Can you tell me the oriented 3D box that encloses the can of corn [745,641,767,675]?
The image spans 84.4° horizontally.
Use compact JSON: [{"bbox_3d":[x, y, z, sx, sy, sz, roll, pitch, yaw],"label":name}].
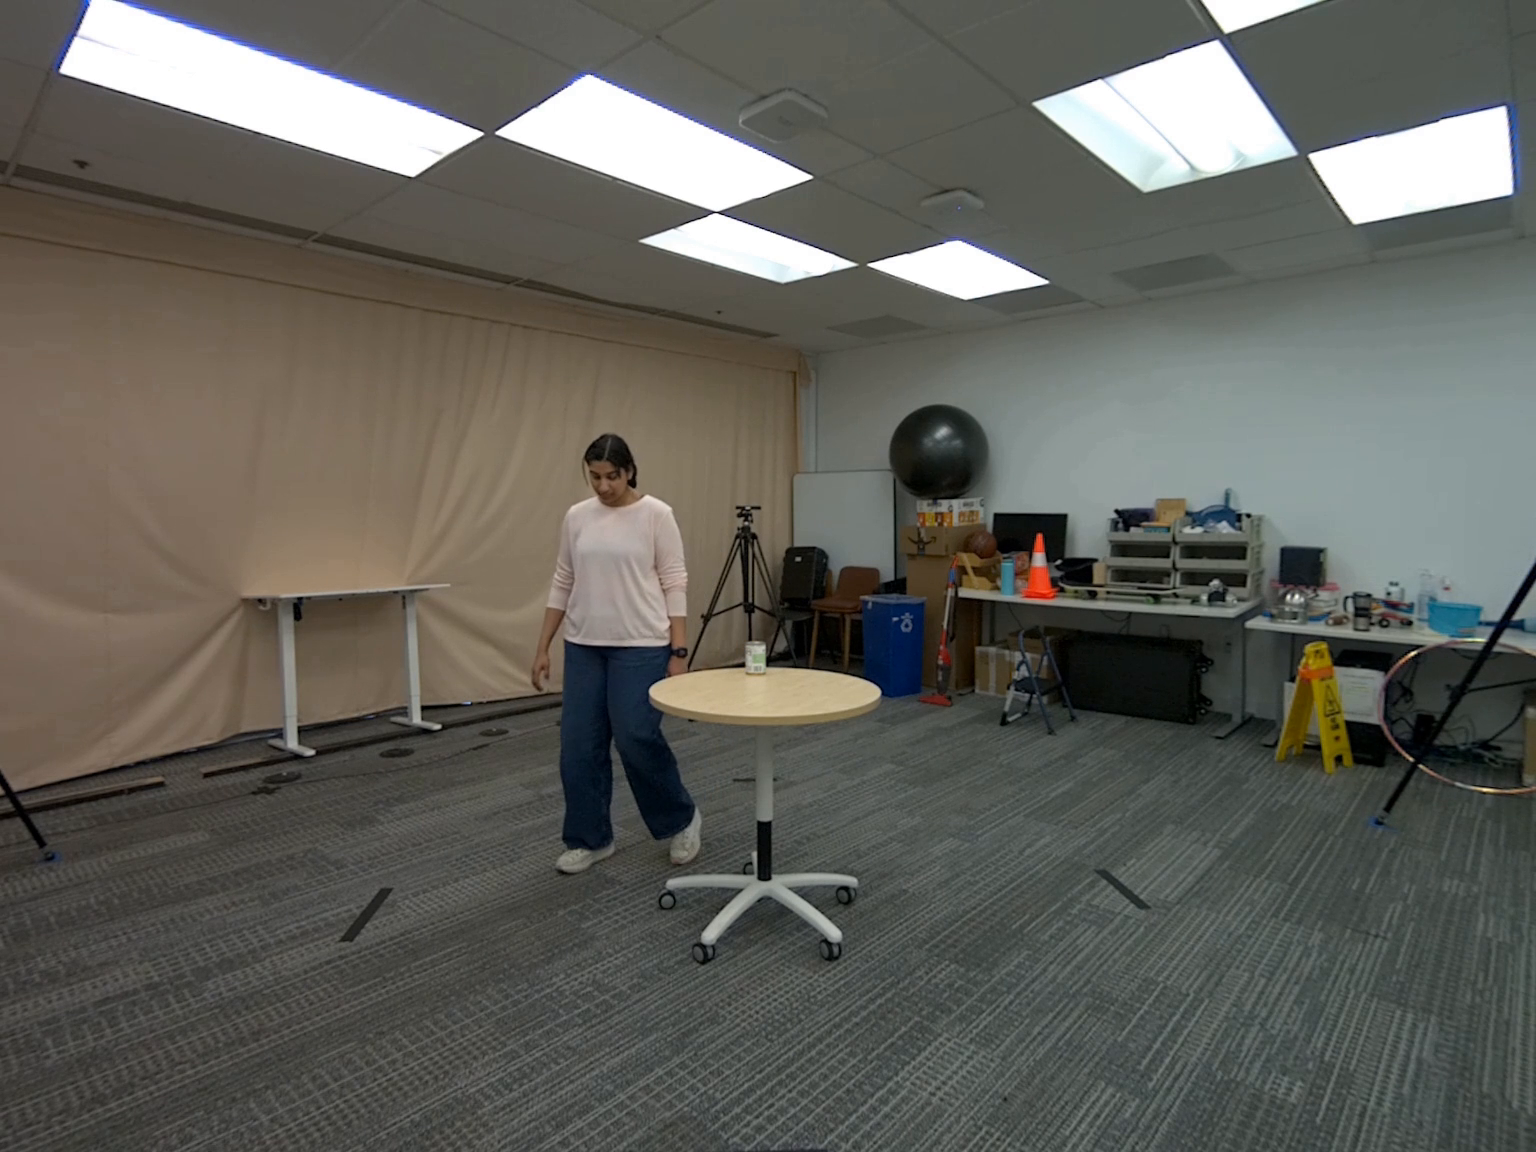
[{"bbox_3d":[-0.040,0.306,3.062,0.074,0.111,0.074,-1,1,-2],"label":"can of corn"}]
